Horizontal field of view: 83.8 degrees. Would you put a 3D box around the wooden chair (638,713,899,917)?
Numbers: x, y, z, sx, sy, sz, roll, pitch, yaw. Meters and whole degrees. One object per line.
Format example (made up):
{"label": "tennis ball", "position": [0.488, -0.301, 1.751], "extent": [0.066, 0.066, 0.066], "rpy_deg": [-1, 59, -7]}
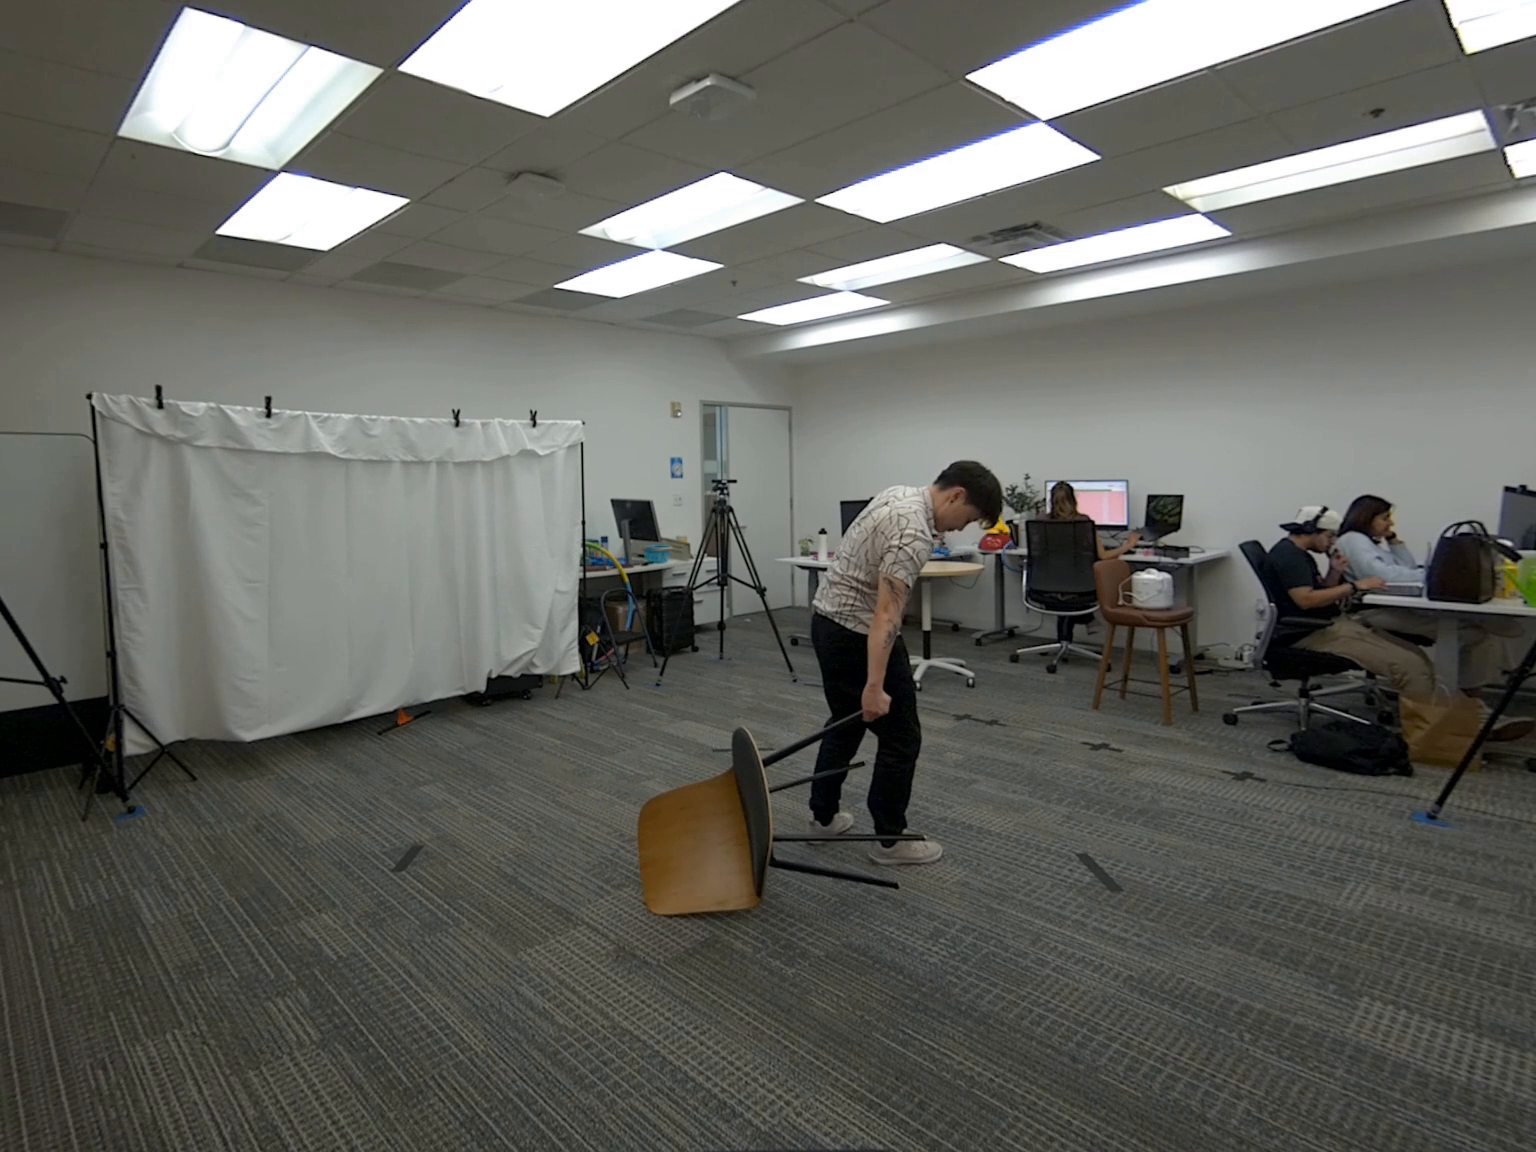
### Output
{"label": "wooden chair", "position": [-0.014, 0.773, 2.734], "extent": [0.875, 0.493, 0.508], "rpy_deg": [-9, -37, -3]}
